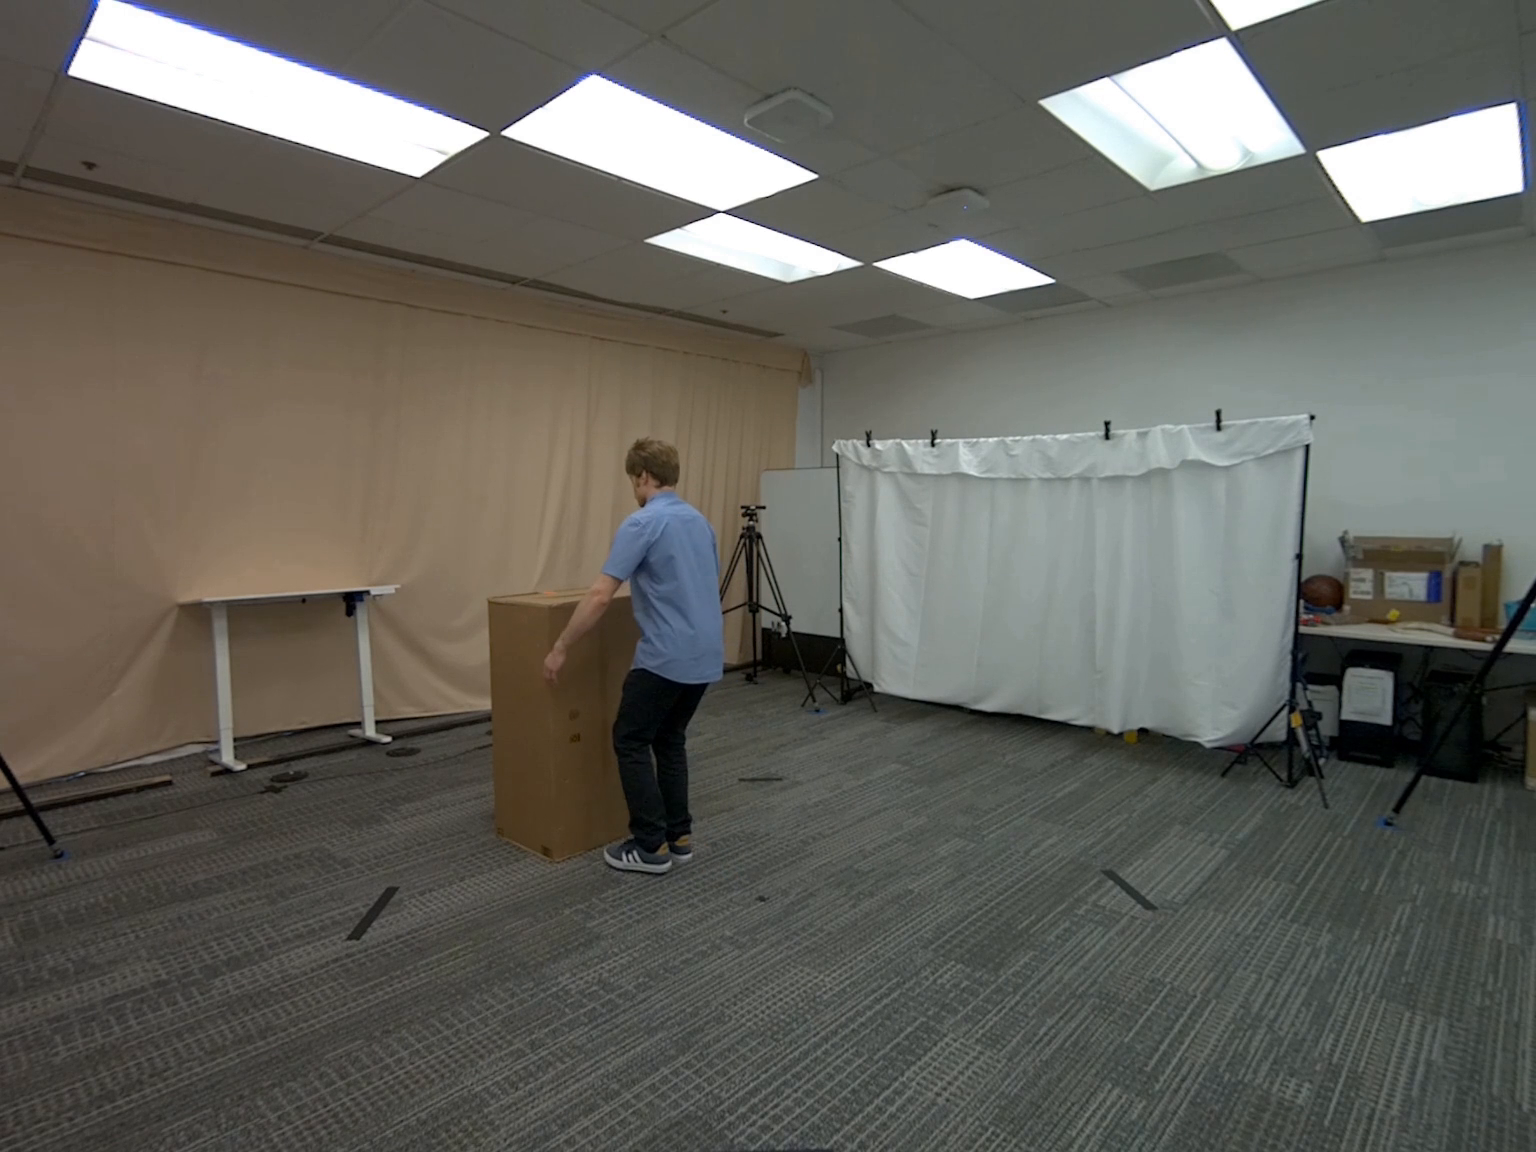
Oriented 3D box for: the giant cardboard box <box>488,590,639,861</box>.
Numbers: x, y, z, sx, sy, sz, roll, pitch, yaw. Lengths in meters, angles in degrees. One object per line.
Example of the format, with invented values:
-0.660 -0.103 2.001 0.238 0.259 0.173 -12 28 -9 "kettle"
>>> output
-0.829 0.588 3.617 0.440 1.023 0.560 3 5 42 "giant cardboard box"
